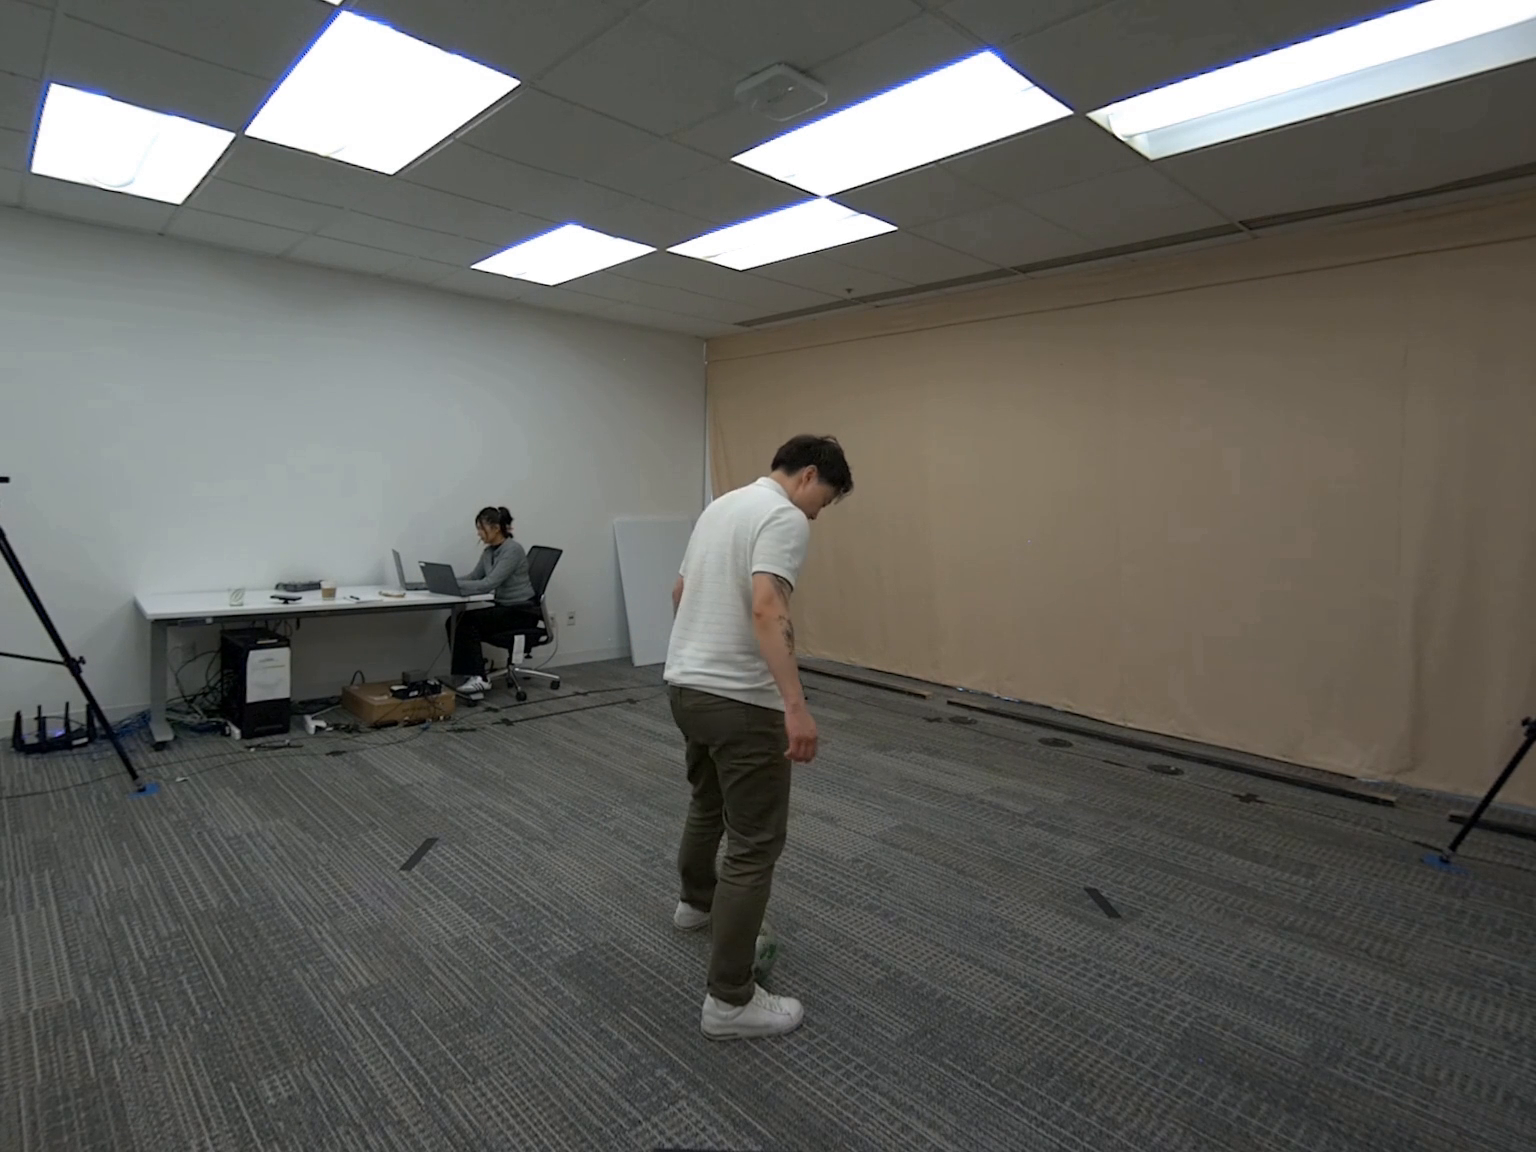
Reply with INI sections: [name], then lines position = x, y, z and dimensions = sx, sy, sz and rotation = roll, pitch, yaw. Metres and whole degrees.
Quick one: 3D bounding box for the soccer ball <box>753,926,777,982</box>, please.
[soccer ball]
position = -0.071, 1.079, 2.421
dimensions = 0.187, 0.187, 0.188
rotation = 1, 4, -1
